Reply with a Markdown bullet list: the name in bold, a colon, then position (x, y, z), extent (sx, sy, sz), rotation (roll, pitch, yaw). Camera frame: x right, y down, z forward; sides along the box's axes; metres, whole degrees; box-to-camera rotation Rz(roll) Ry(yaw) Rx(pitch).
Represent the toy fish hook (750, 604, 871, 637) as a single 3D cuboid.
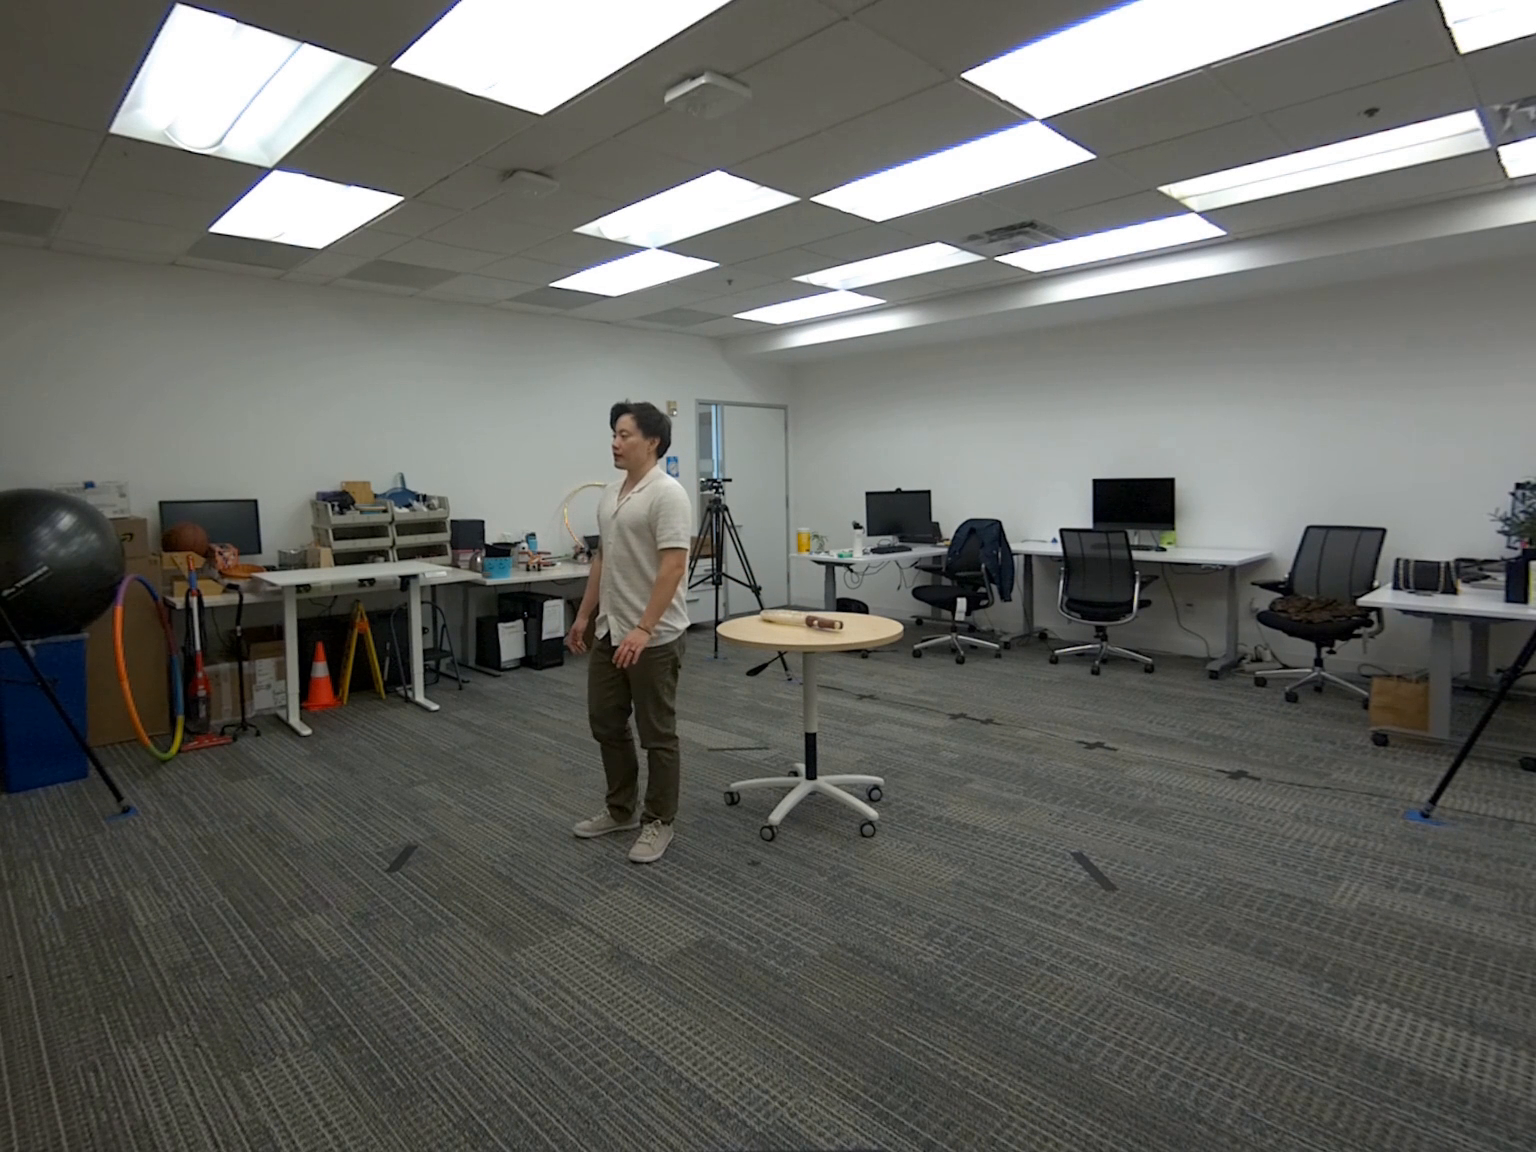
- **toy fish hook**: position (0.166, 0.181, 3.603), extent (0.219, 0.048, 0.522), rotation (-5, 8, -36)
